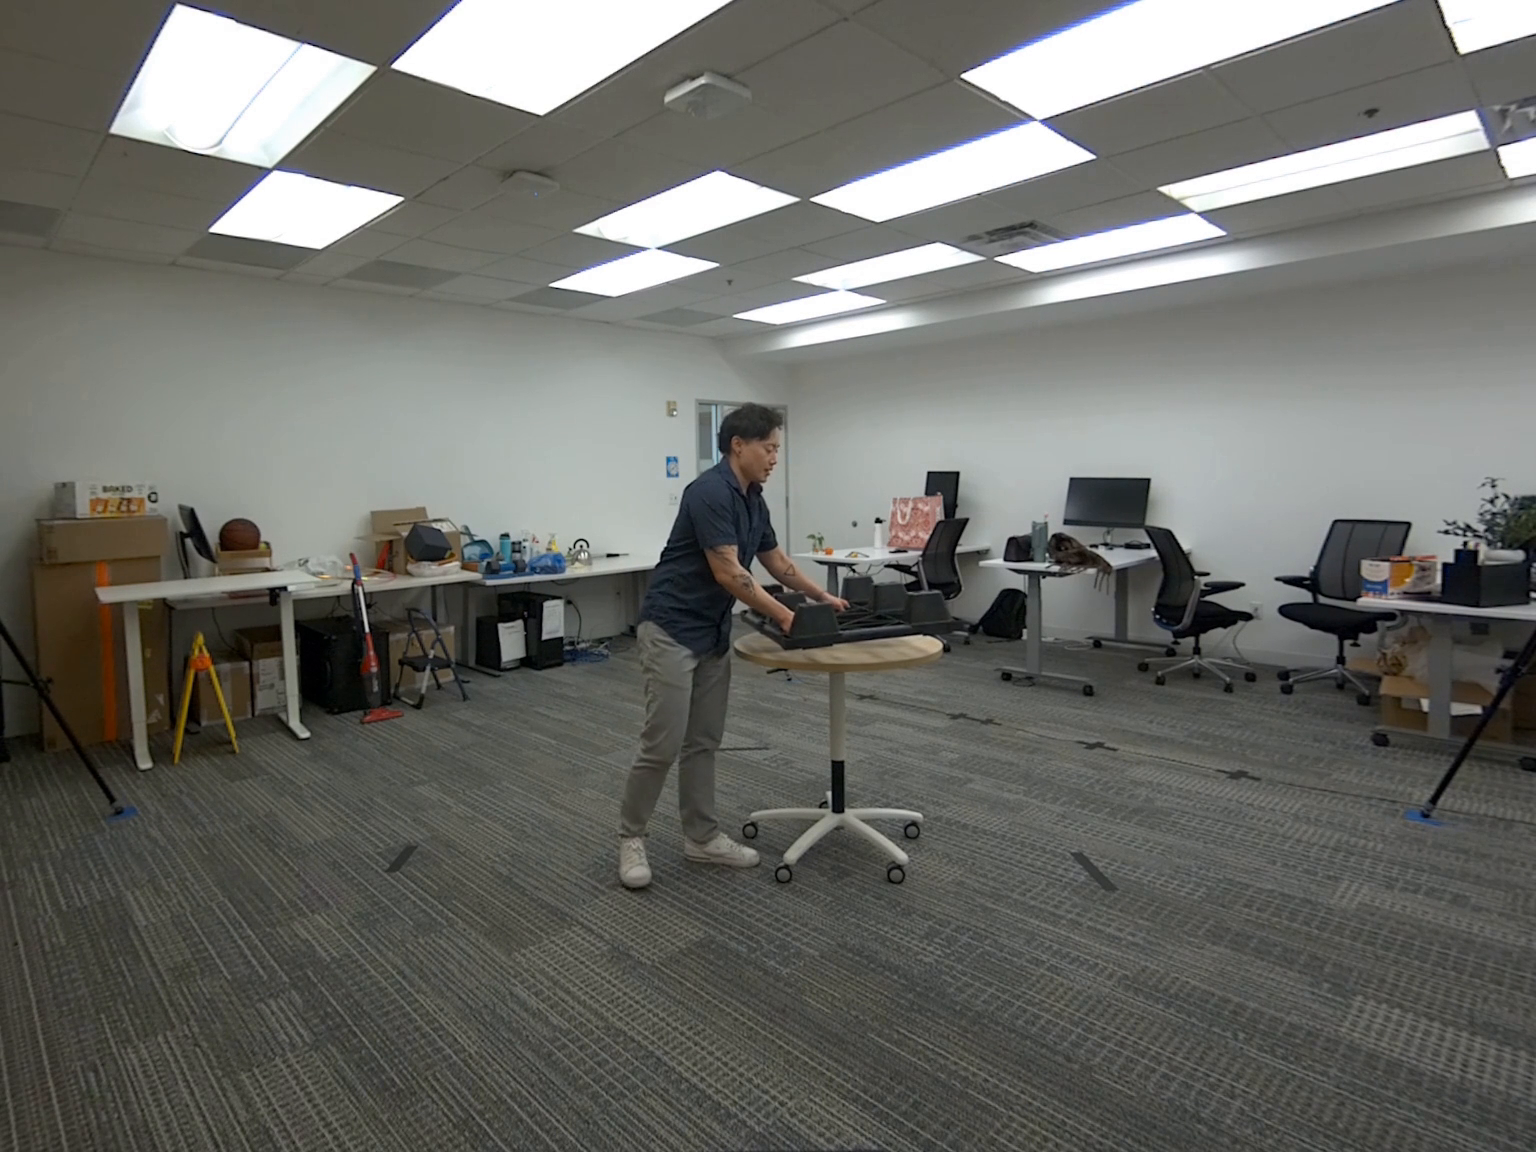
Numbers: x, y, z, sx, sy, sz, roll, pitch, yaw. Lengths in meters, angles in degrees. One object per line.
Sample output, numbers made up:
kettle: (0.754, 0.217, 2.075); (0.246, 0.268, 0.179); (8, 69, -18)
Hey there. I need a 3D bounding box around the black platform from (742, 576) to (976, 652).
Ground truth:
black platform: (0.266, 0.113, 3.080); (0.600, 0.143, 0.816); (-6, 6, -11)
